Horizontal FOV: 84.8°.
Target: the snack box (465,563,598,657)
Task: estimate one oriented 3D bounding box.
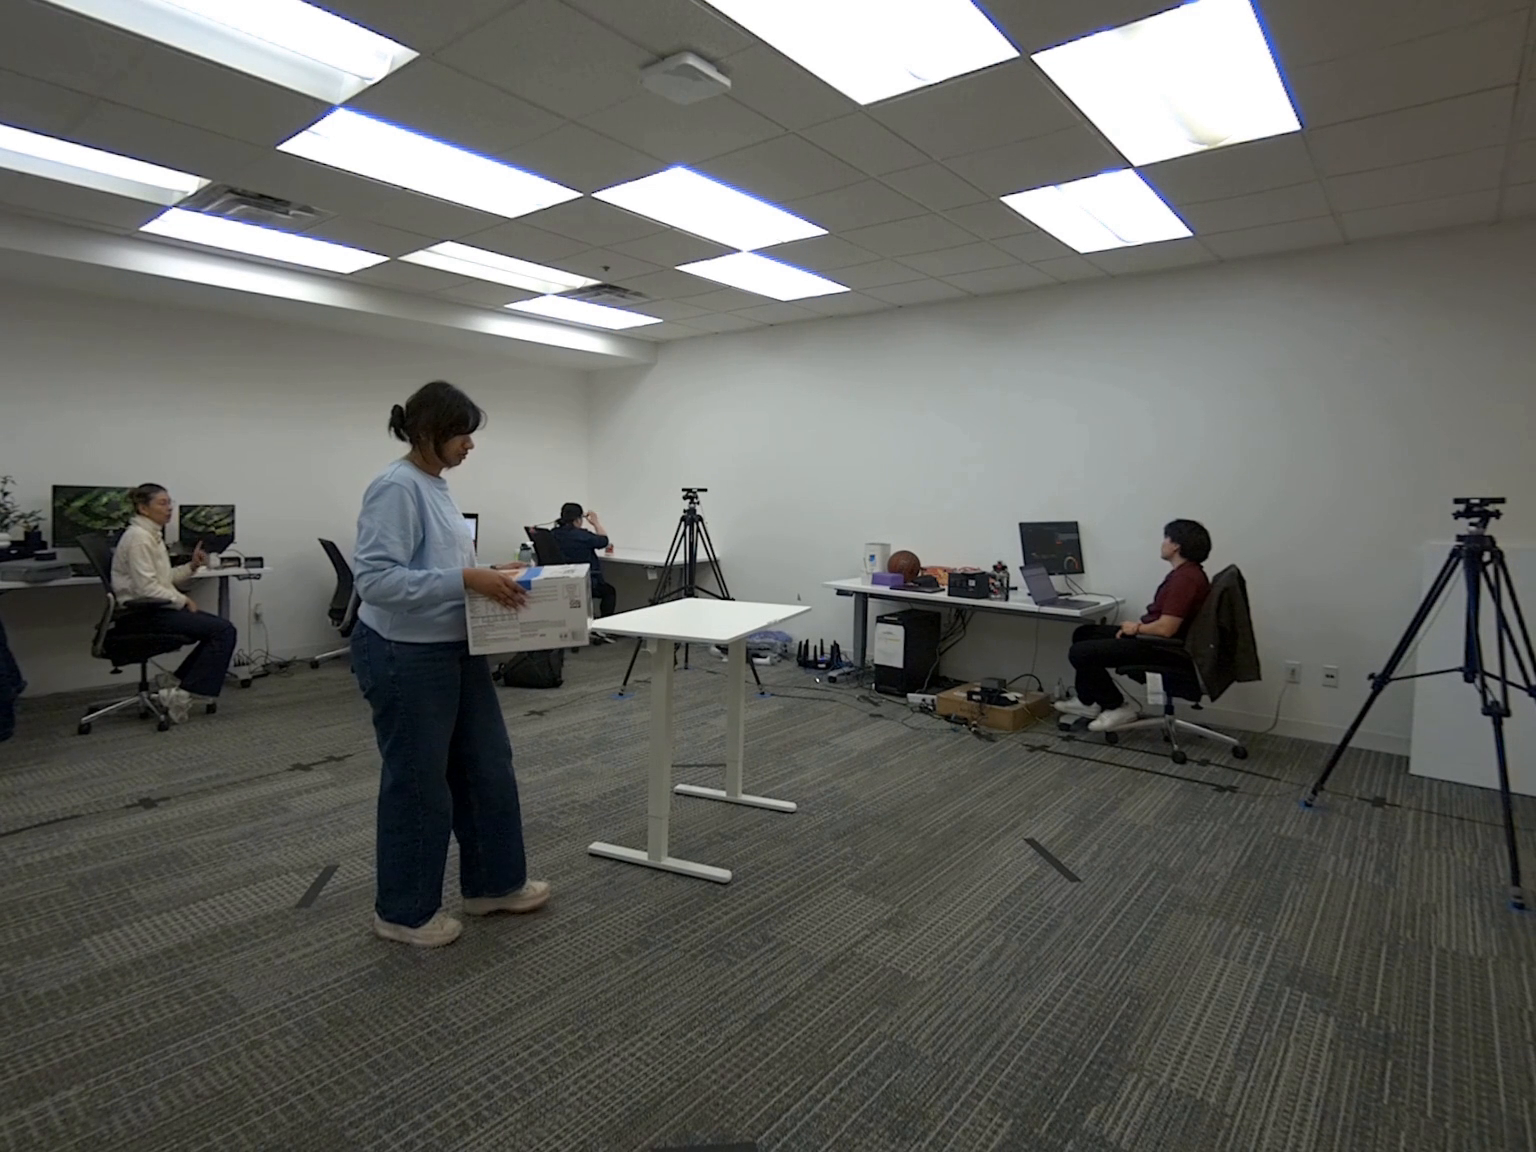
[{"bbox_3d":[-0.728,0.094,2.622,0.339,0.205,0.409,-5,6,-6],"label":"snack box"}]
